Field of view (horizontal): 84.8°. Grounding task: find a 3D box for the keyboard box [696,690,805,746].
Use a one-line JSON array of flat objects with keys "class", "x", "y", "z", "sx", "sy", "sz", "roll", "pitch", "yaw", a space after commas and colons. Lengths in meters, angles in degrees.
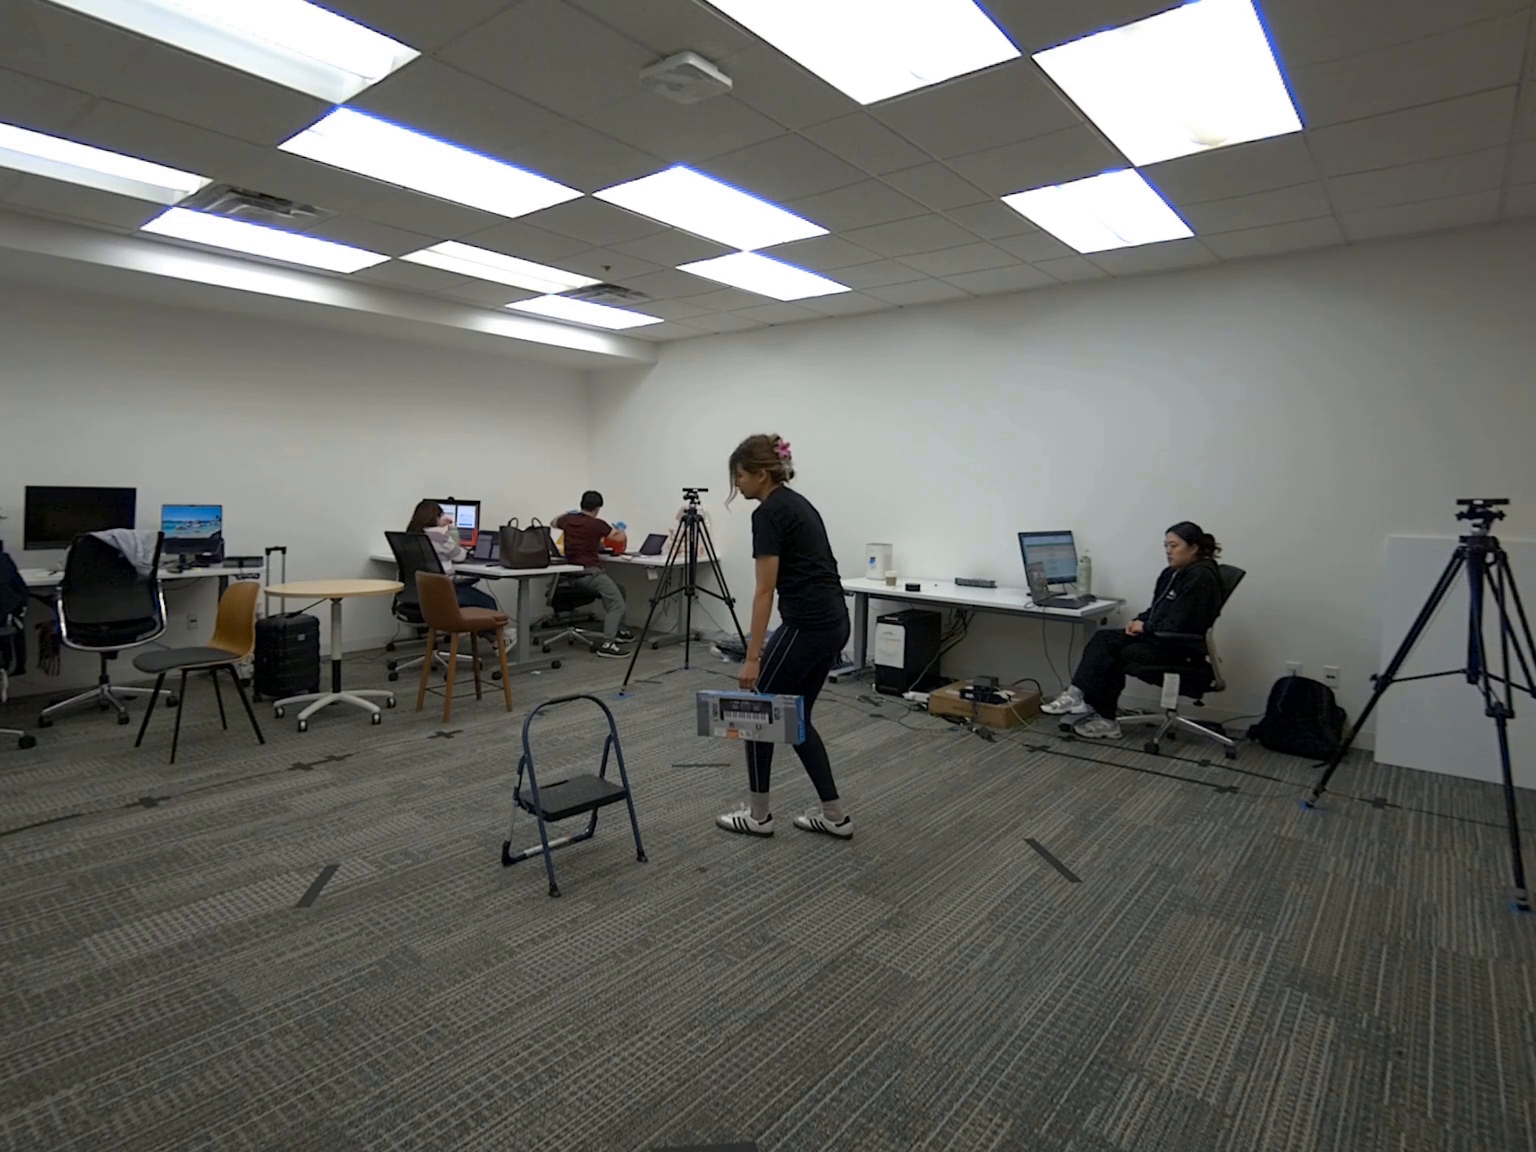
[{"class": "keyboard box", "x": -0.080, "y": 0.539, "z": 3.269, "sx": 0.448, "sy": 0.176, "sz": 0.057, "roll": -1, "pitch": 0, "yaw": 28}]
